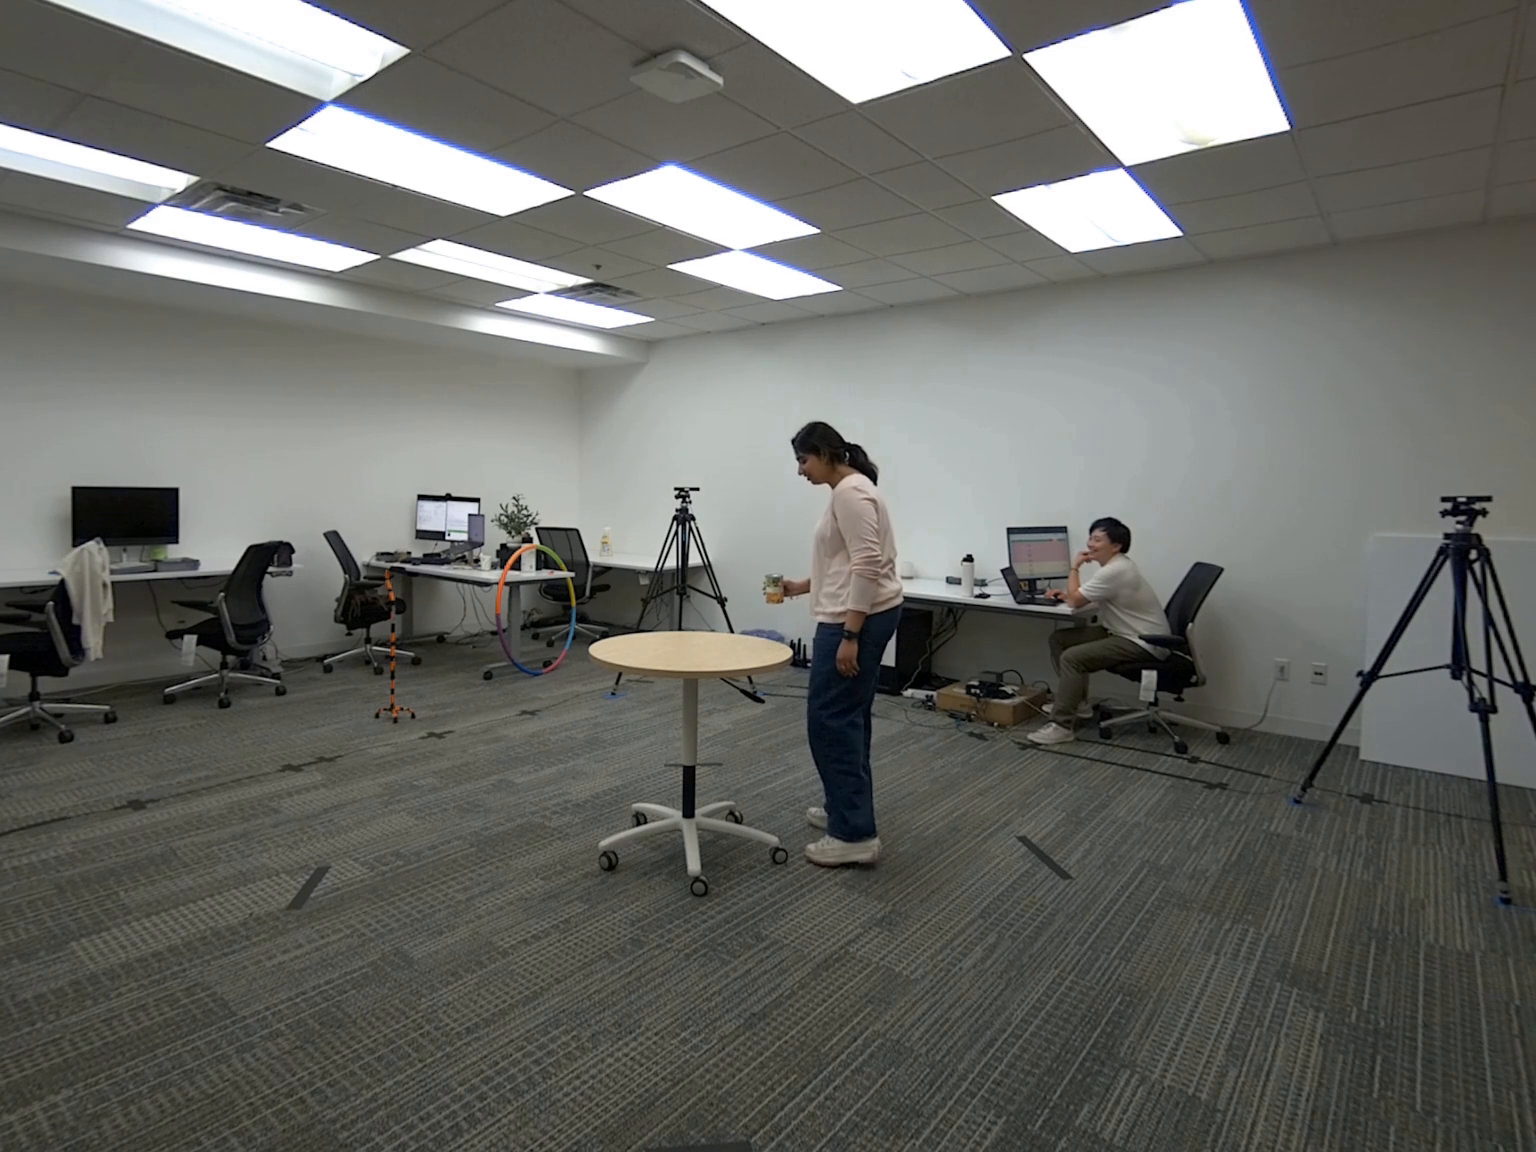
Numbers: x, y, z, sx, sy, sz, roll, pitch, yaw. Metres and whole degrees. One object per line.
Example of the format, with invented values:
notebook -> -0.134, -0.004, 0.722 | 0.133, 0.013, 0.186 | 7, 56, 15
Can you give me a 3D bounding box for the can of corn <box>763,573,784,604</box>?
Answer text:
can of corn -> 0.020, 0.049, 3.532 | 0.074, 0.110, 0.074 | -1, 5, -2
